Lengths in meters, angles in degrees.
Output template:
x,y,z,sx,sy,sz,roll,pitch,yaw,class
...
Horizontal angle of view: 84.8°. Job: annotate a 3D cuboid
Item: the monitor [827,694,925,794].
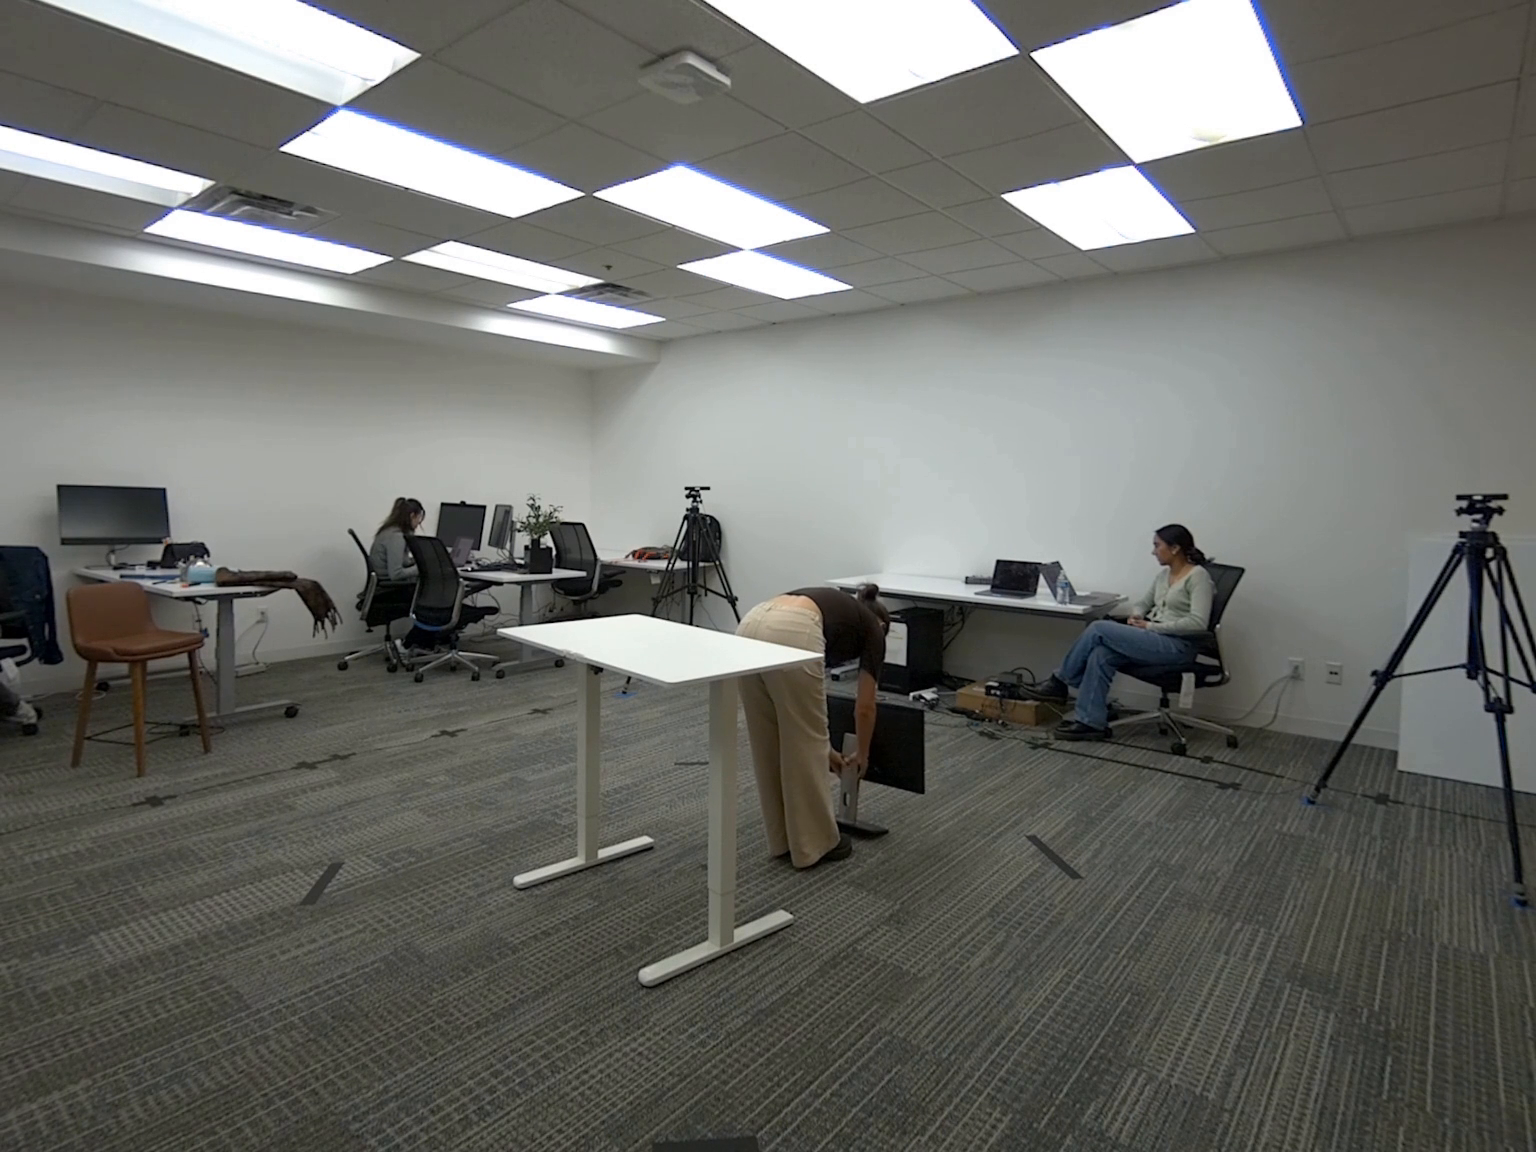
x,y,z,sx,sy,sz,roll,pitch,yaw,class
0.361,0.768,3.514,0.556,0.525,0.180,3,-5,35,monitor
